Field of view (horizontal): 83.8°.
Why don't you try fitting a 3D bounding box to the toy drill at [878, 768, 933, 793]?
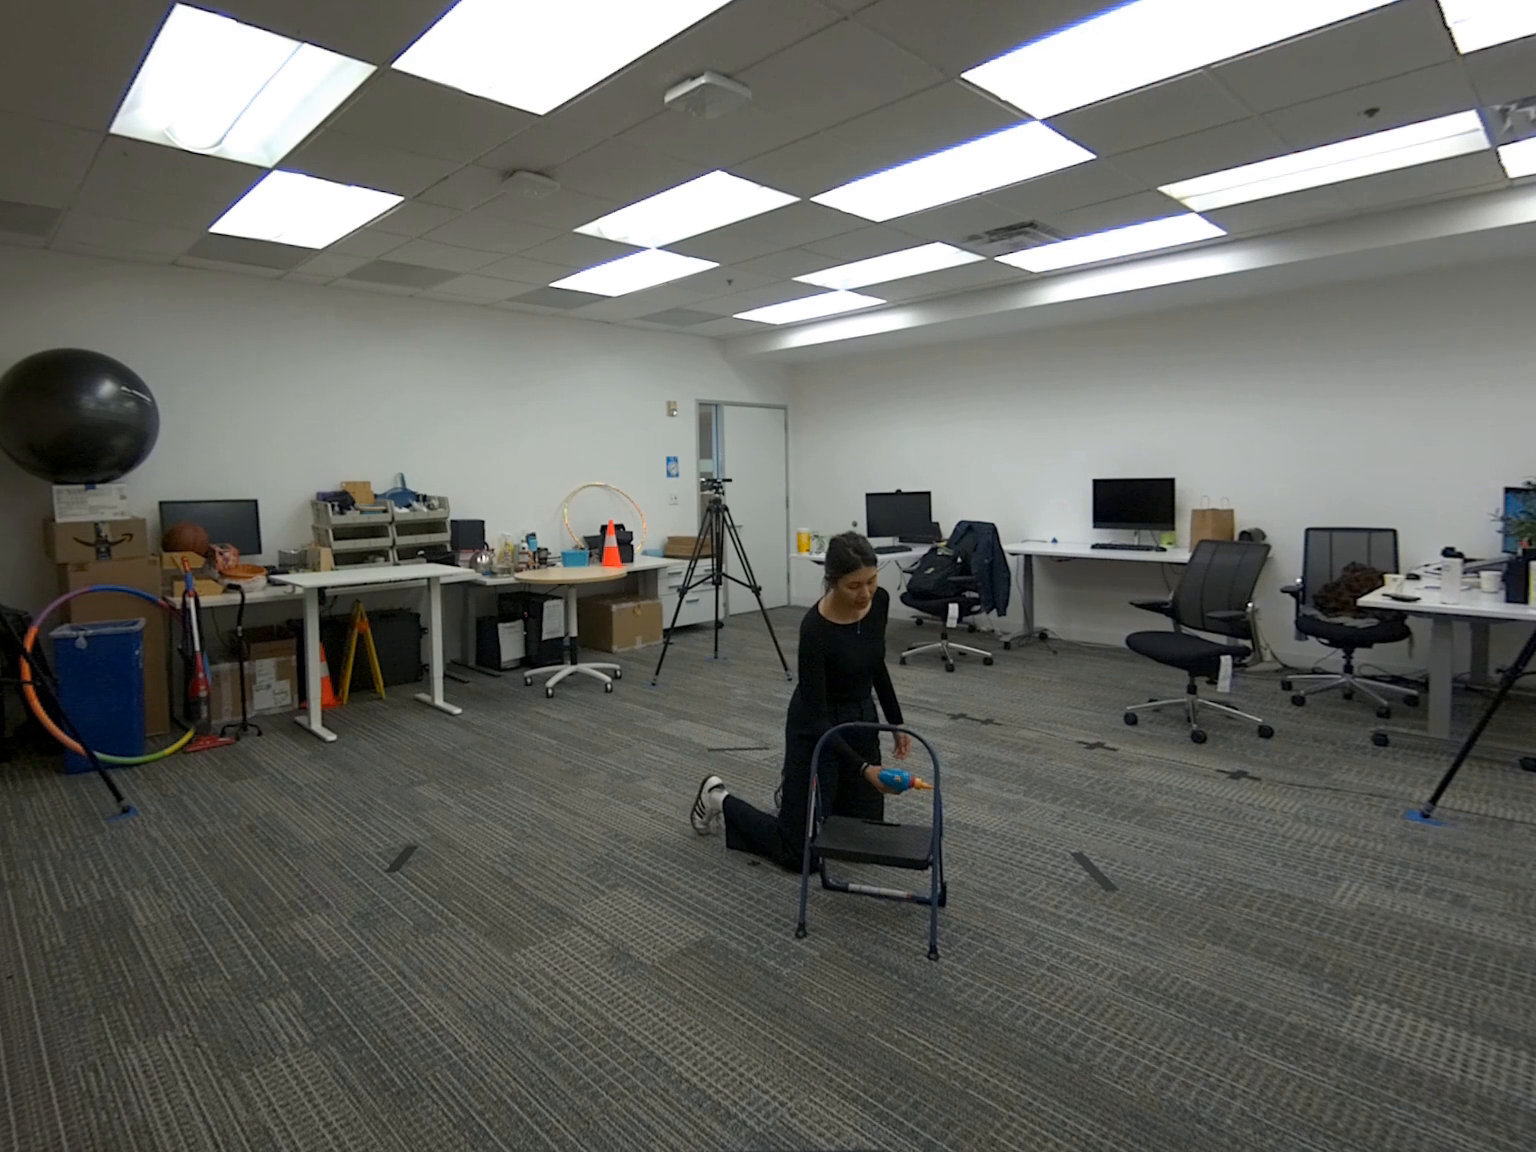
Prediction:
[{"bbox_3d":[0.448,0.653,2.680,0.173,0.061,0.142,12,-9,16],"label":"toy drill"}]
